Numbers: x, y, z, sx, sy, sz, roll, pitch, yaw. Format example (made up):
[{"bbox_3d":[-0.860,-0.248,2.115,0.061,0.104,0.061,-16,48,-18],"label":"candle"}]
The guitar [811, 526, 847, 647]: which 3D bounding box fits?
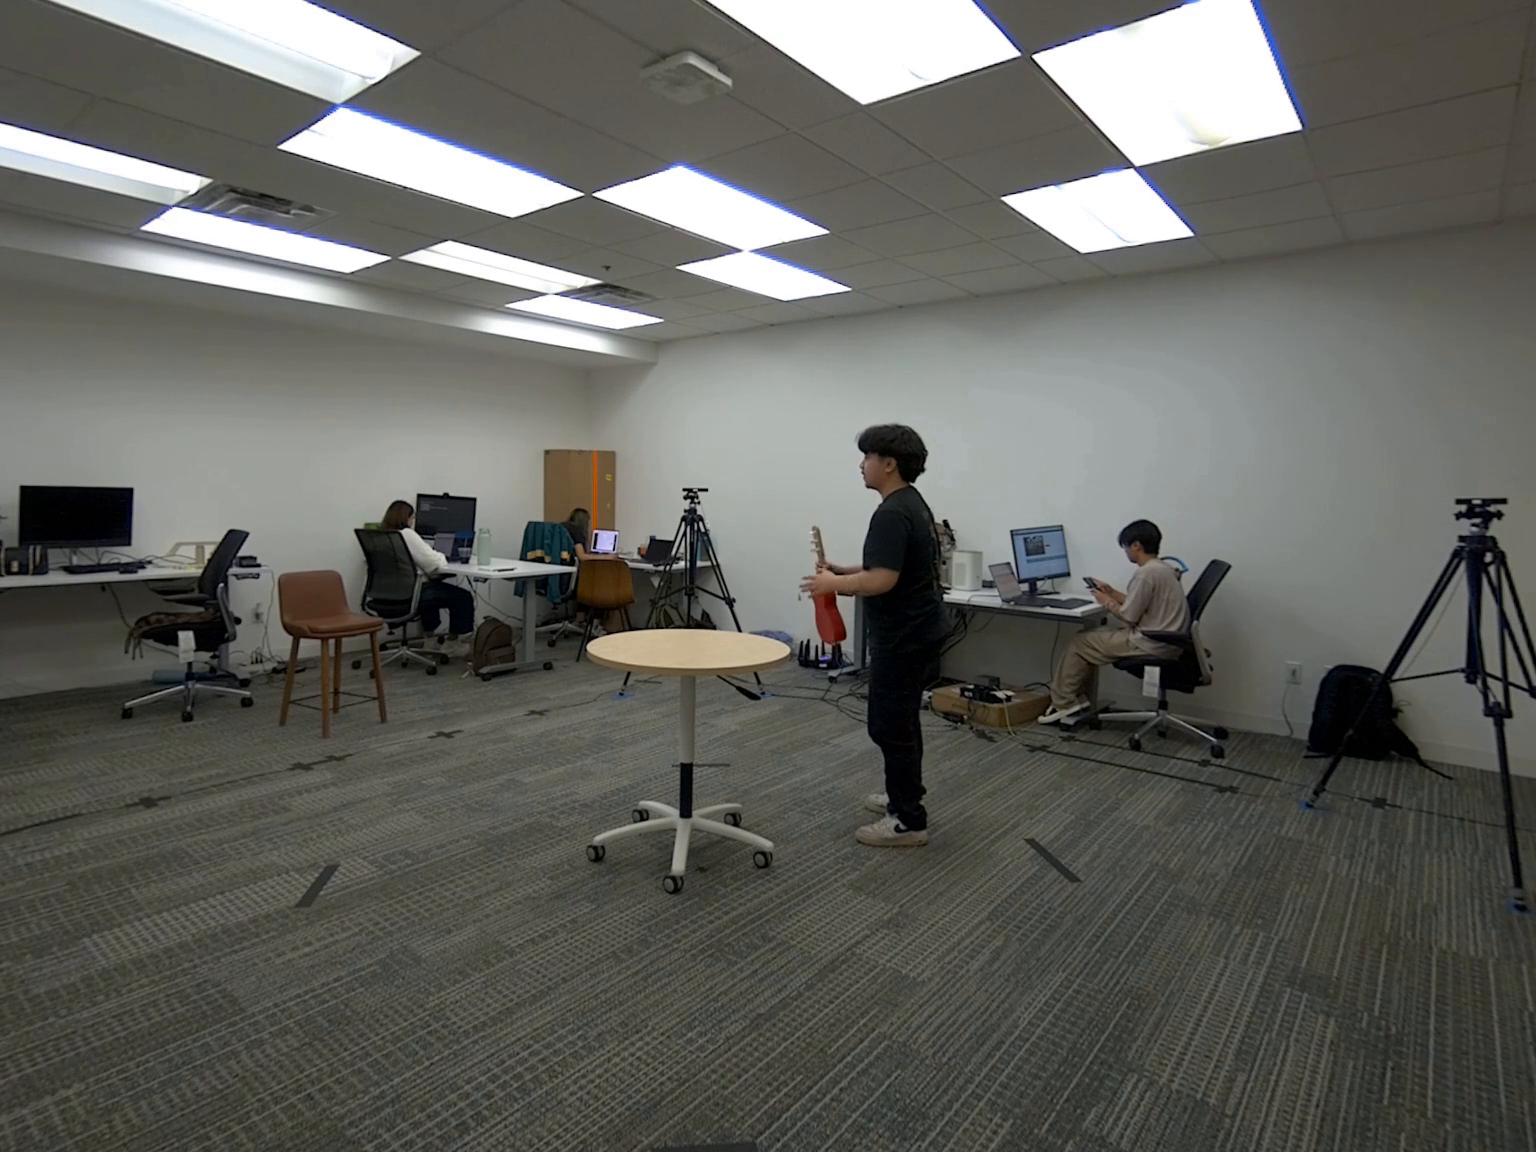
[{"bbox_3d":[0.227,0.041,3.628,0.070,0.501,0.194,-9,-5,-13],"label":"guitar"}]
